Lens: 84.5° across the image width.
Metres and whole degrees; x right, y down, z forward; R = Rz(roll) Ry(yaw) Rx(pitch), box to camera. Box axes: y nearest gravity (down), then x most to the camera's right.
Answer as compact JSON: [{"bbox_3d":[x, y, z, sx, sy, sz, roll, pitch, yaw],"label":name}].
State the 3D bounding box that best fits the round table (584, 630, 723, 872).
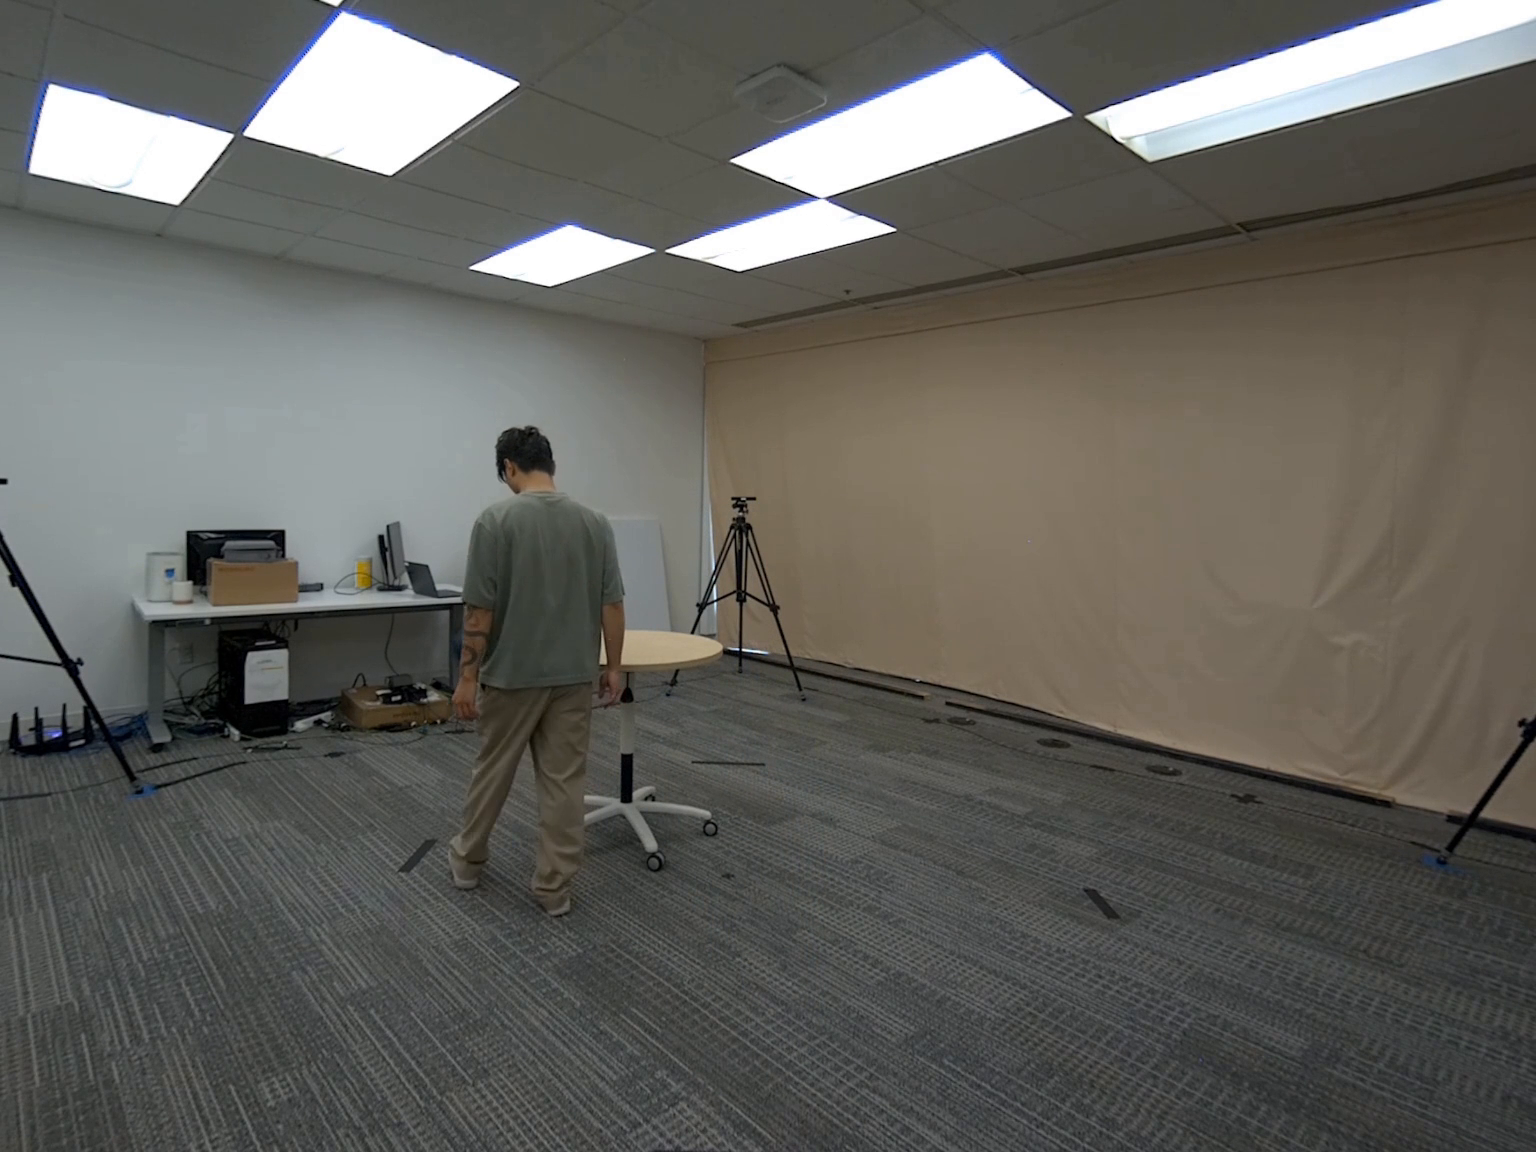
[{"bbox_3d":[-0.572,0.673,3.422,0.784,0.784,0.788,1,4,-1],"label":"round table"}]
